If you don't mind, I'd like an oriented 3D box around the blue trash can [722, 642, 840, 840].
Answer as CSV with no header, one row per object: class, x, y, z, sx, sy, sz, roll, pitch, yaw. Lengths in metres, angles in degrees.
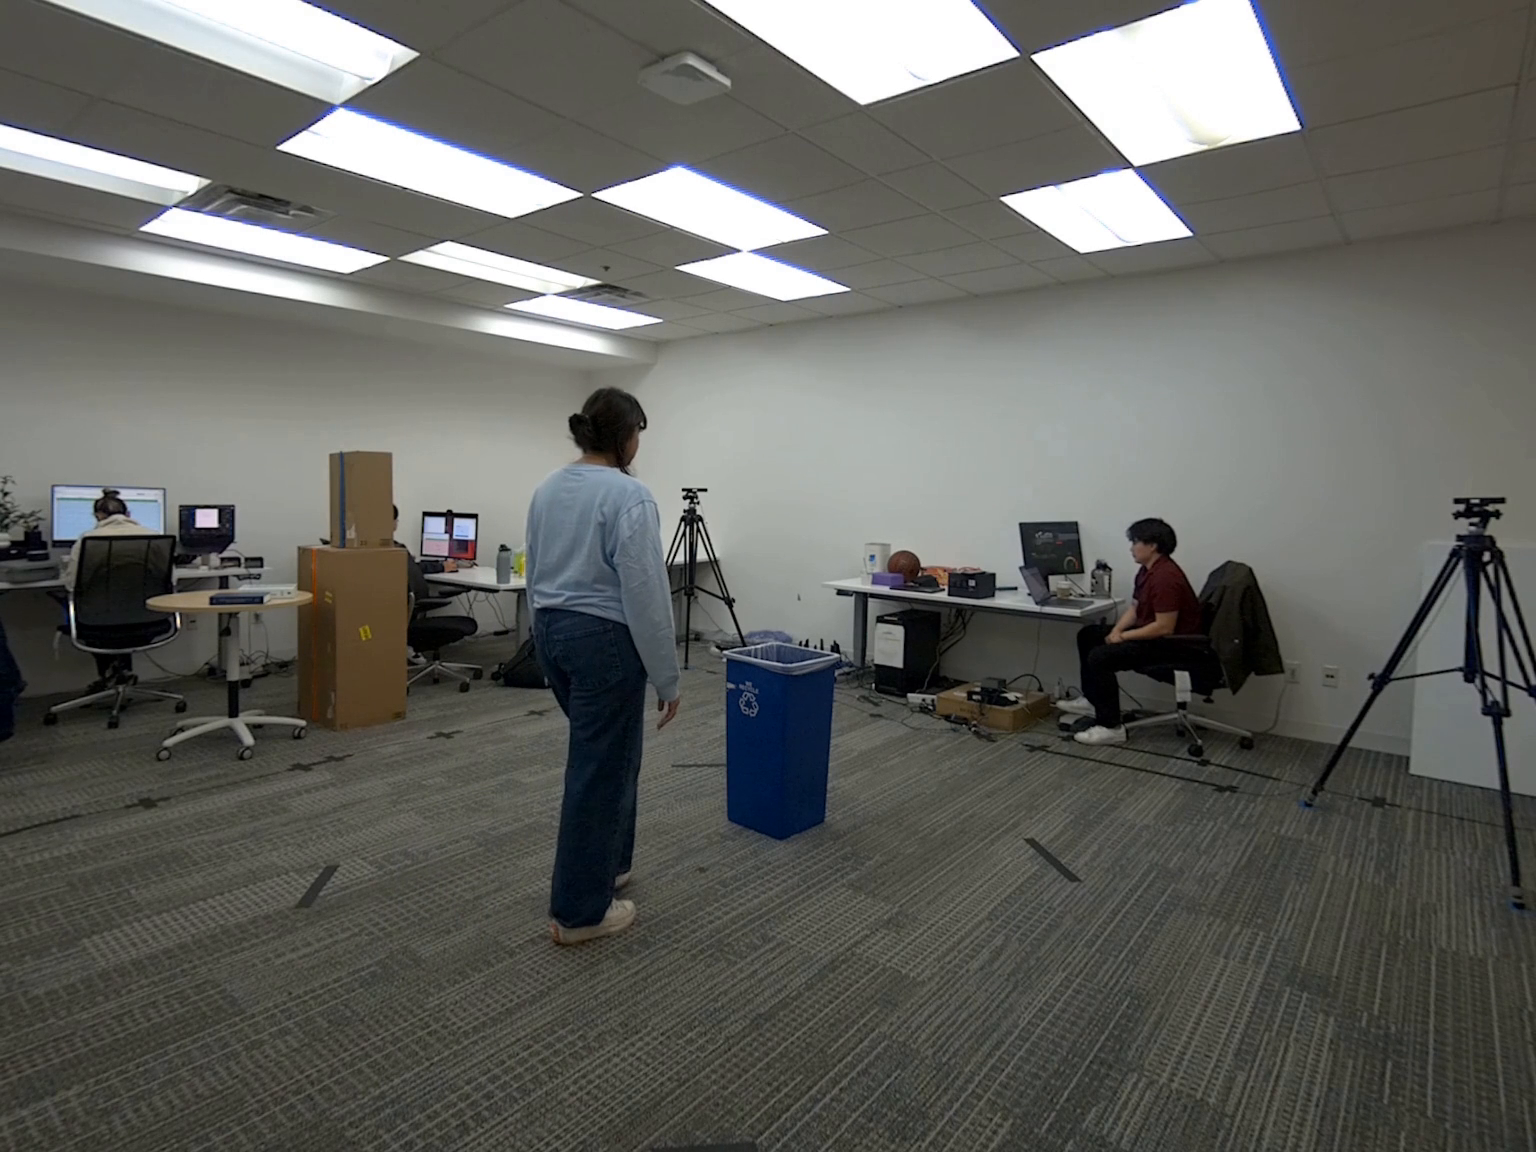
blue trash can,0.044,0.672,3.565,0.387,0.711,0.366,4,5,42
